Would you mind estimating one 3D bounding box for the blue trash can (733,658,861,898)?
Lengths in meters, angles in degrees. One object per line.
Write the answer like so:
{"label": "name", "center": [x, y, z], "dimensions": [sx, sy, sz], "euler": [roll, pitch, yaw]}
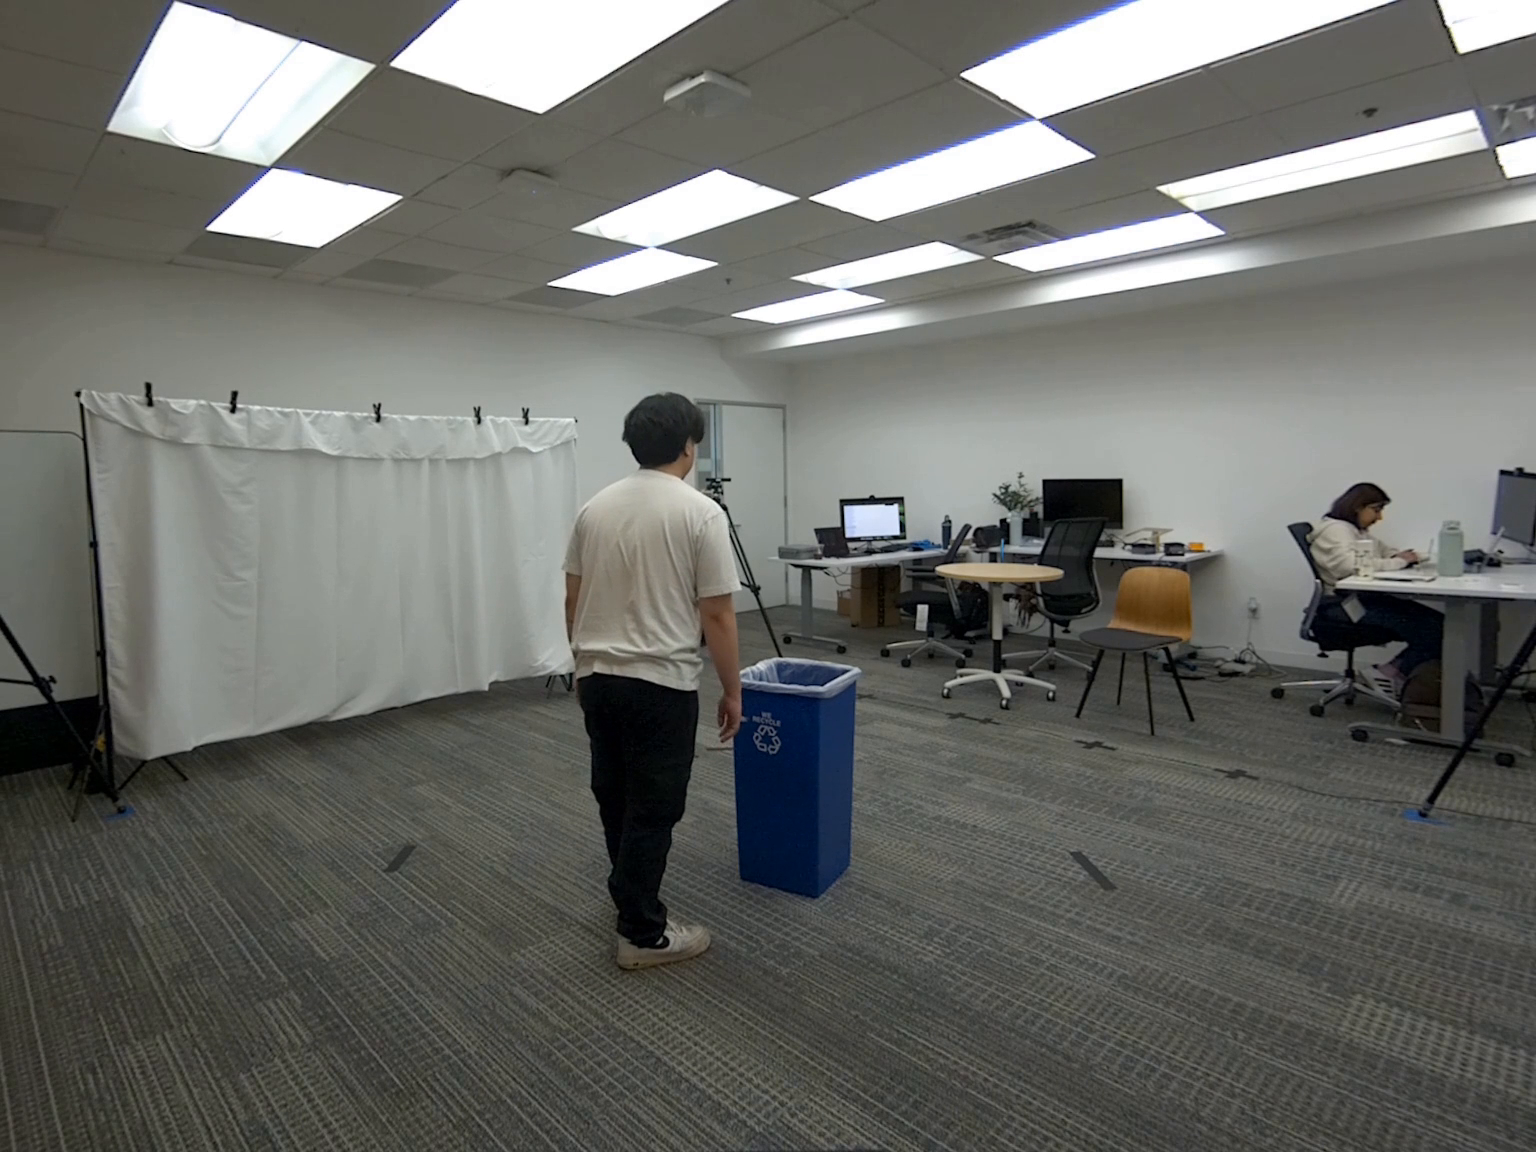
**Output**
{"label": "blue trash can", "center": [0.105, 0.691, 3.010], "dimensions": [0.383, 0.711, 0.370], "euler": [1, 5, 29]}
